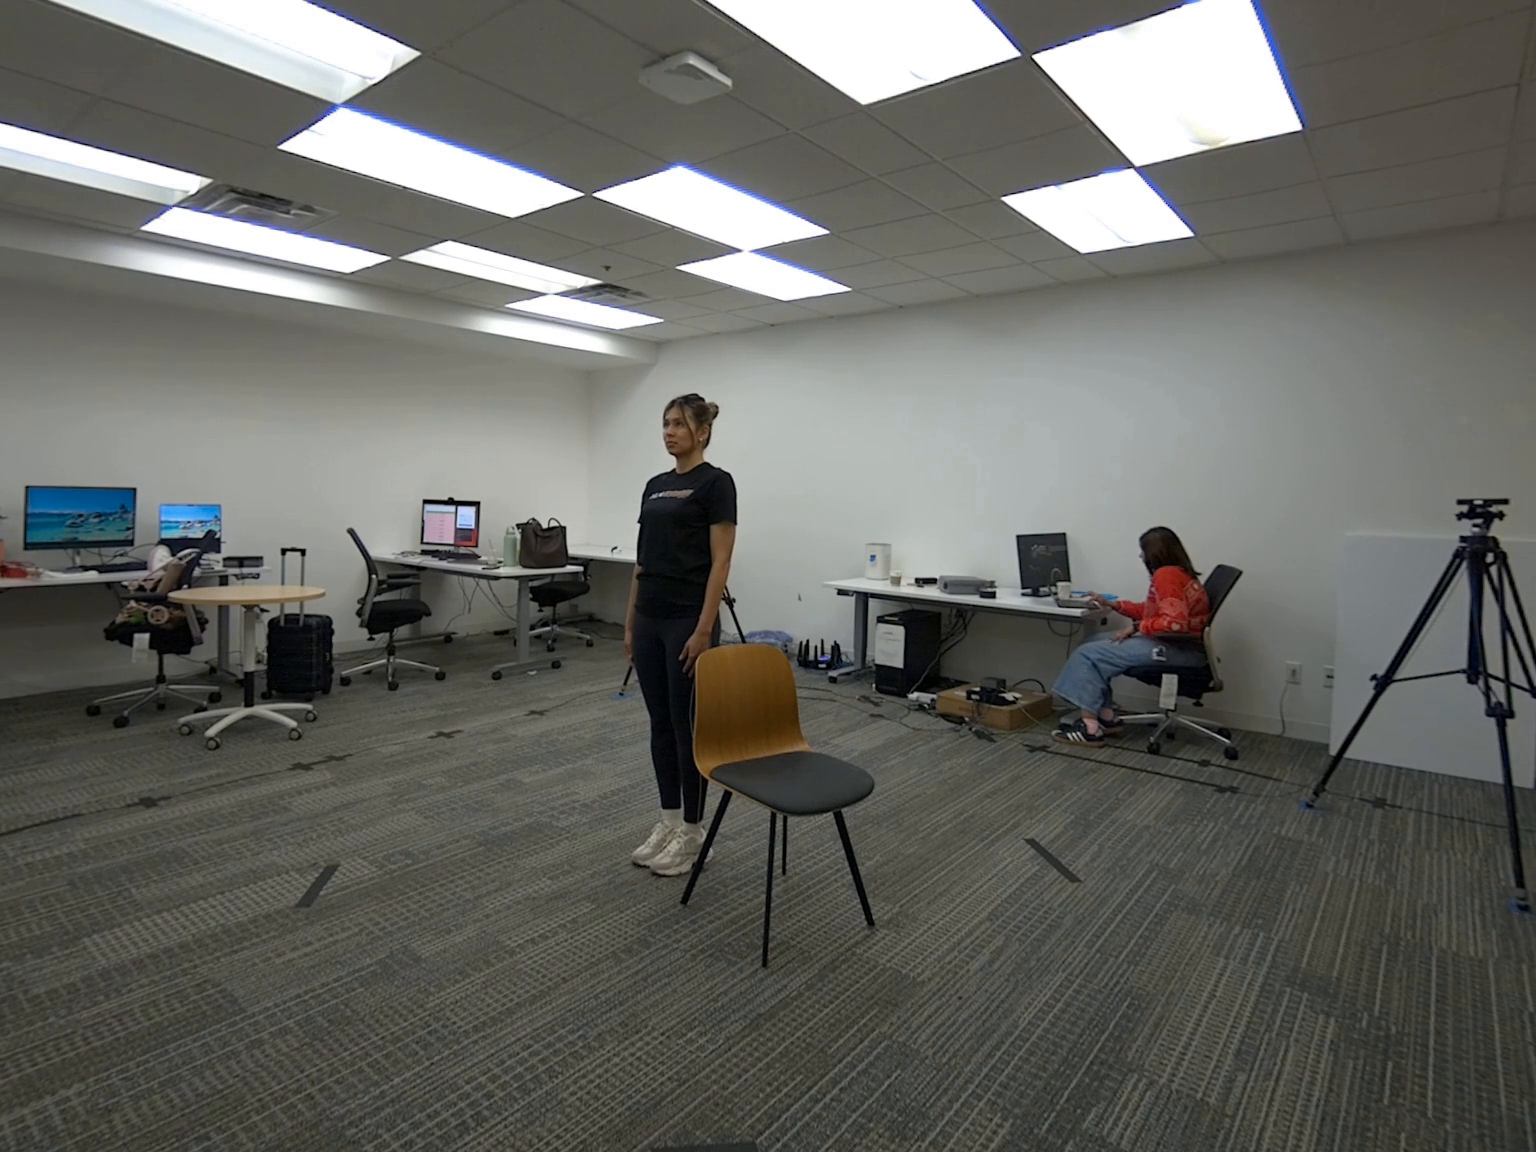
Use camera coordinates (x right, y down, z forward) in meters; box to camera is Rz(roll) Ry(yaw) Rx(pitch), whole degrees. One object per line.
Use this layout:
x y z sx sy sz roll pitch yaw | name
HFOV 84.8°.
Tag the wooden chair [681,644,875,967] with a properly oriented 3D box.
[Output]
0.037 0.684 2.748 0.464 0.878 0.539 -1 0 -37 | wooden chair
